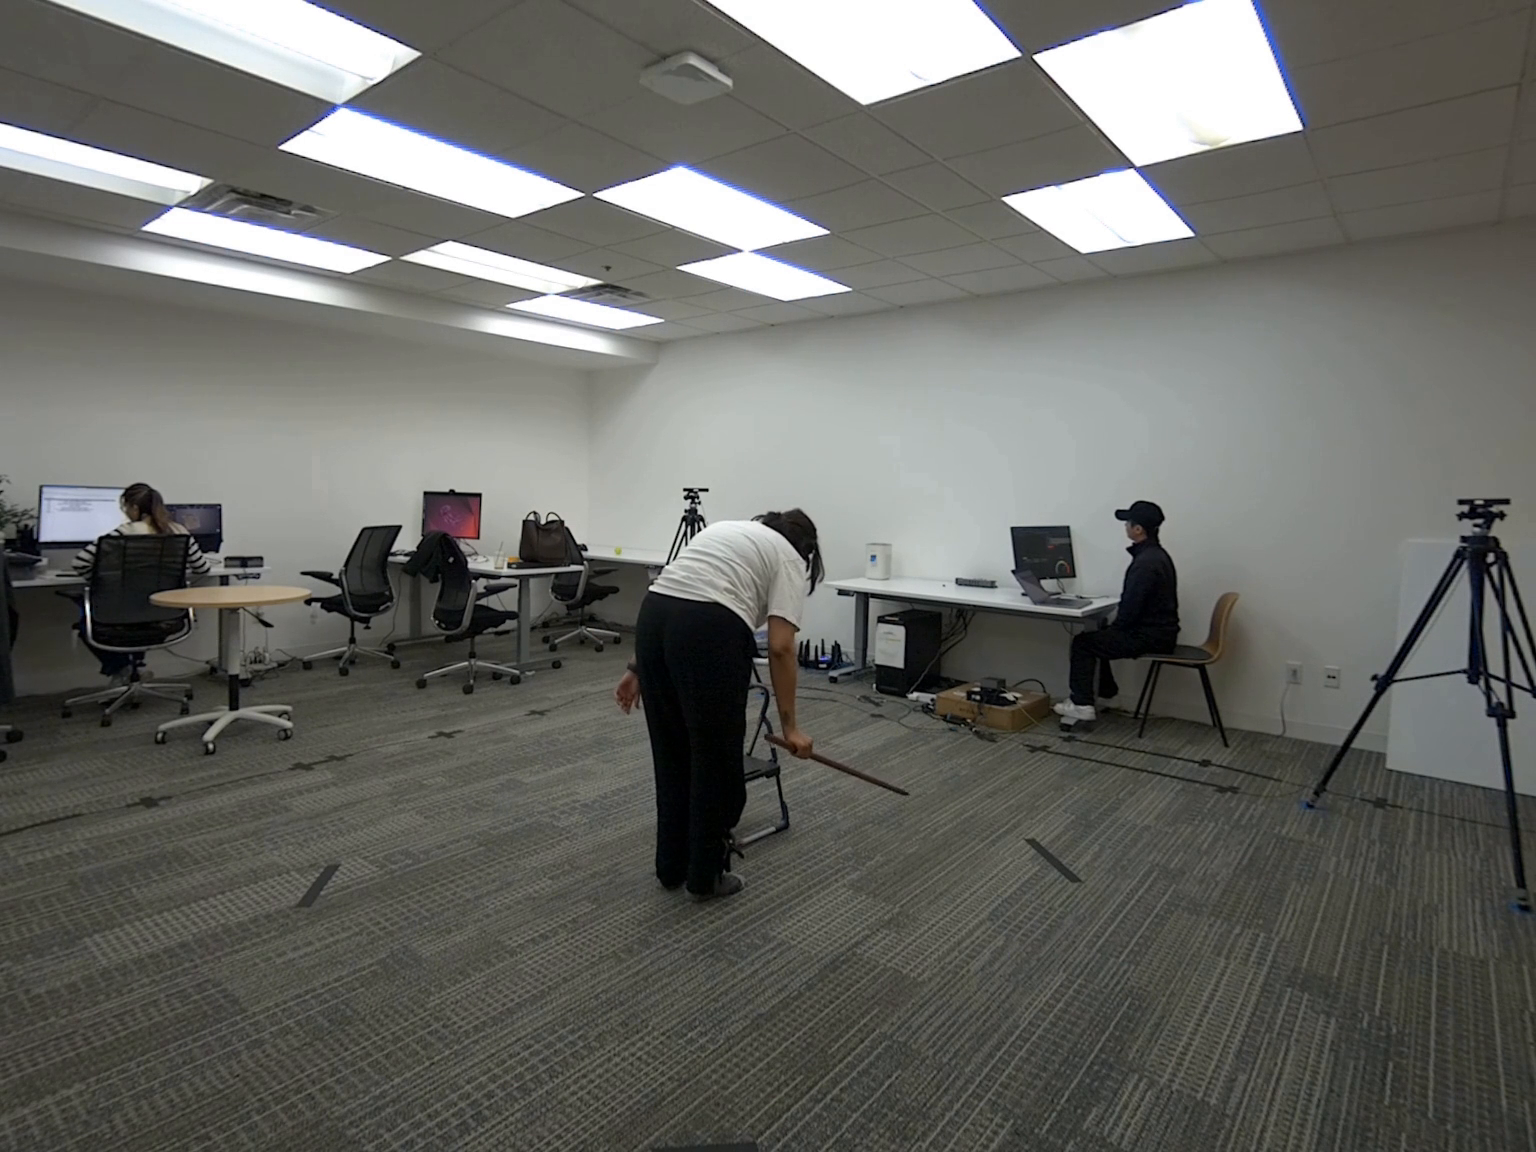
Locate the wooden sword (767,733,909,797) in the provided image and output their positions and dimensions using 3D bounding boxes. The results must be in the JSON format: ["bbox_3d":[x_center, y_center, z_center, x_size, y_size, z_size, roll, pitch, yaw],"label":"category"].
[{"bbox_3d":[0.276,0.696,3.063,0.053,0.024,0.982,-4,-24,35],"label":"wooden sword"}]
